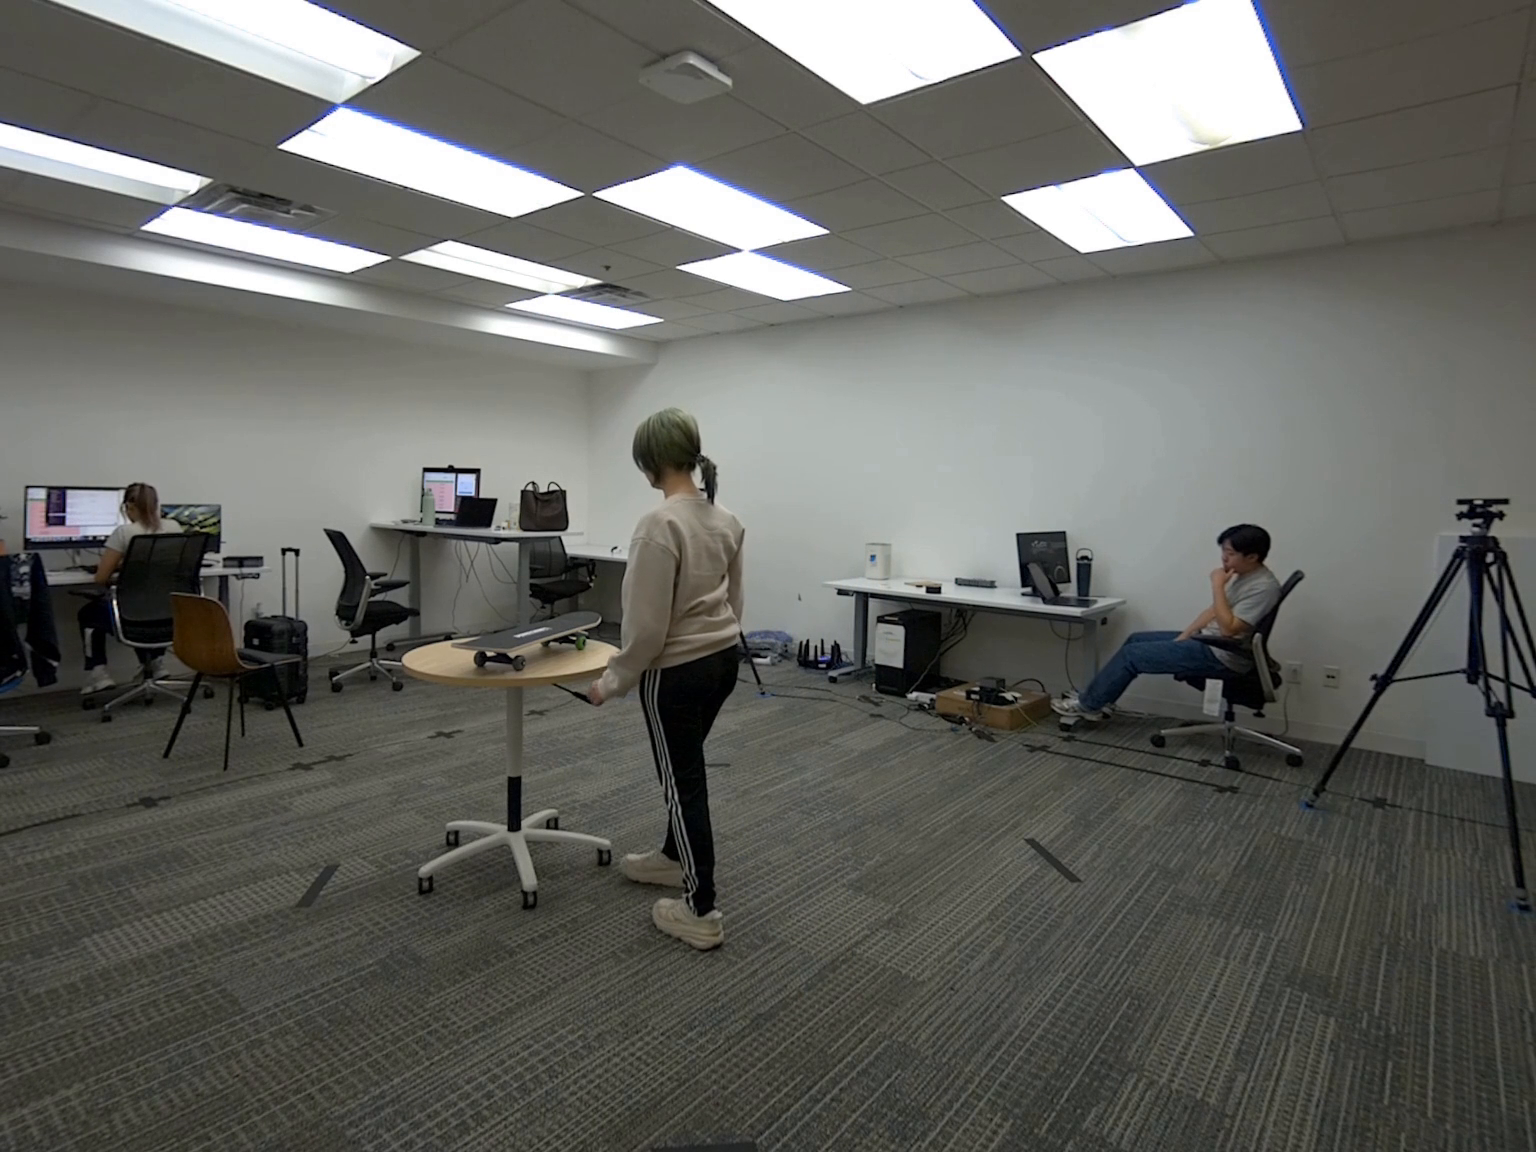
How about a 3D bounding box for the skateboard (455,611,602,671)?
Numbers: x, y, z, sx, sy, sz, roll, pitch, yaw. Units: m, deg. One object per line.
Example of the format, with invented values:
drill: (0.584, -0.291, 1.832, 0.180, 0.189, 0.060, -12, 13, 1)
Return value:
skateboard: (-0.850, 0.237, 3.013, 0.197, 0.110, 0.773, 4, 7, 18)
